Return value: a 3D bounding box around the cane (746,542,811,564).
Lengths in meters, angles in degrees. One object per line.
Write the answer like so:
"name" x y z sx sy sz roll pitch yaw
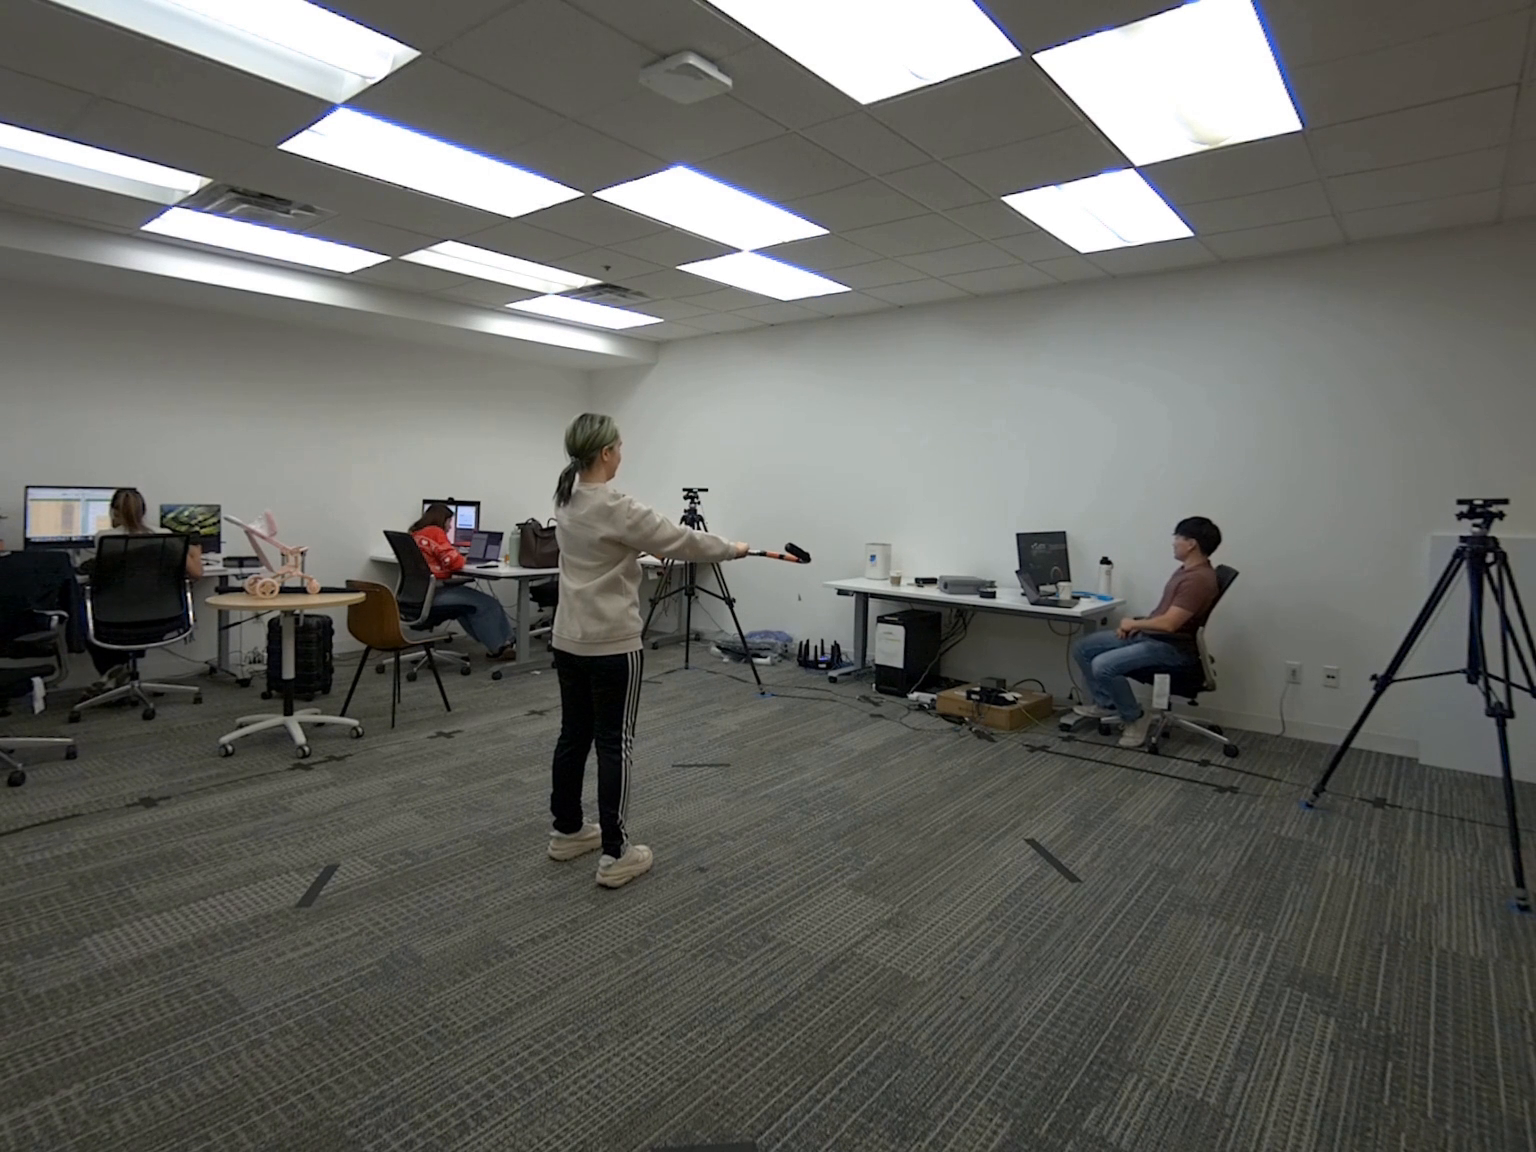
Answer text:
"cane" -0.199 -0.095 3.429 0.939 0.153 0.198 6 -19 46
